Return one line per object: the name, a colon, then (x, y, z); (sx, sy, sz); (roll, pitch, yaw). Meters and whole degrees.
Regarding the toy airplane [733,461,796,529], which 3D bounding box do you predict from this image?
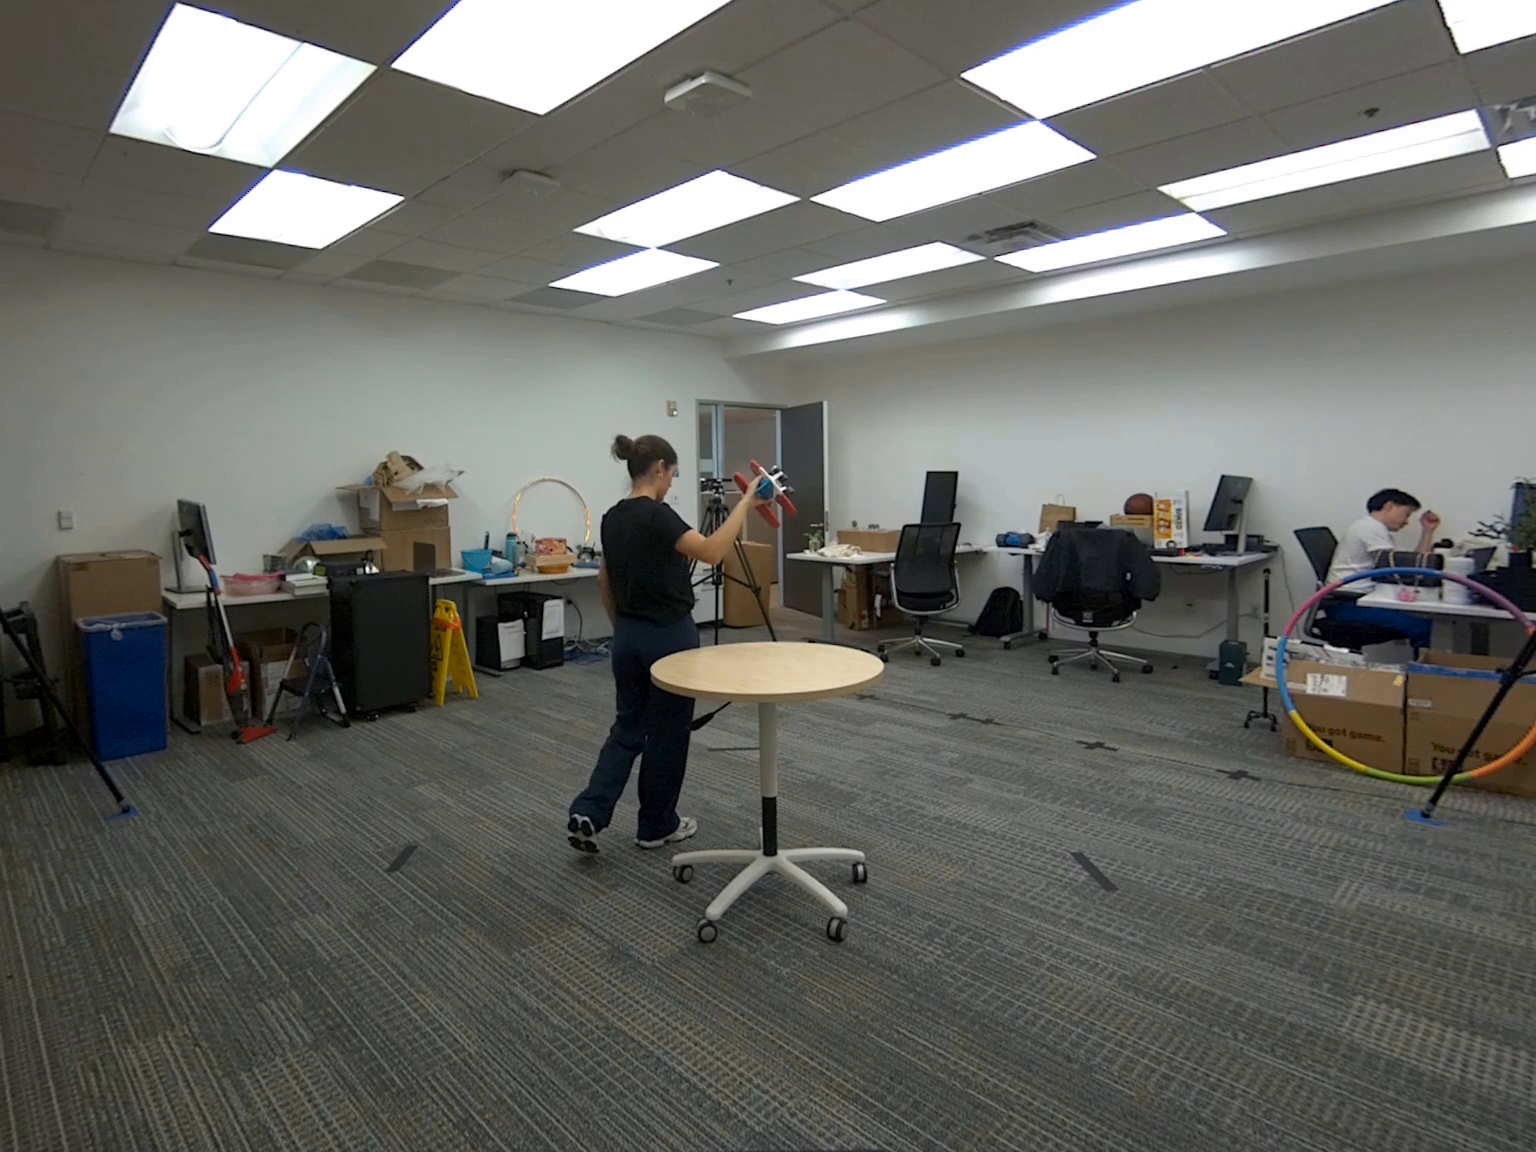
toy airplane: (-0.011, -0.324, 3.109); (0.261, 0.156, 0.249); (52, 3, 36)
